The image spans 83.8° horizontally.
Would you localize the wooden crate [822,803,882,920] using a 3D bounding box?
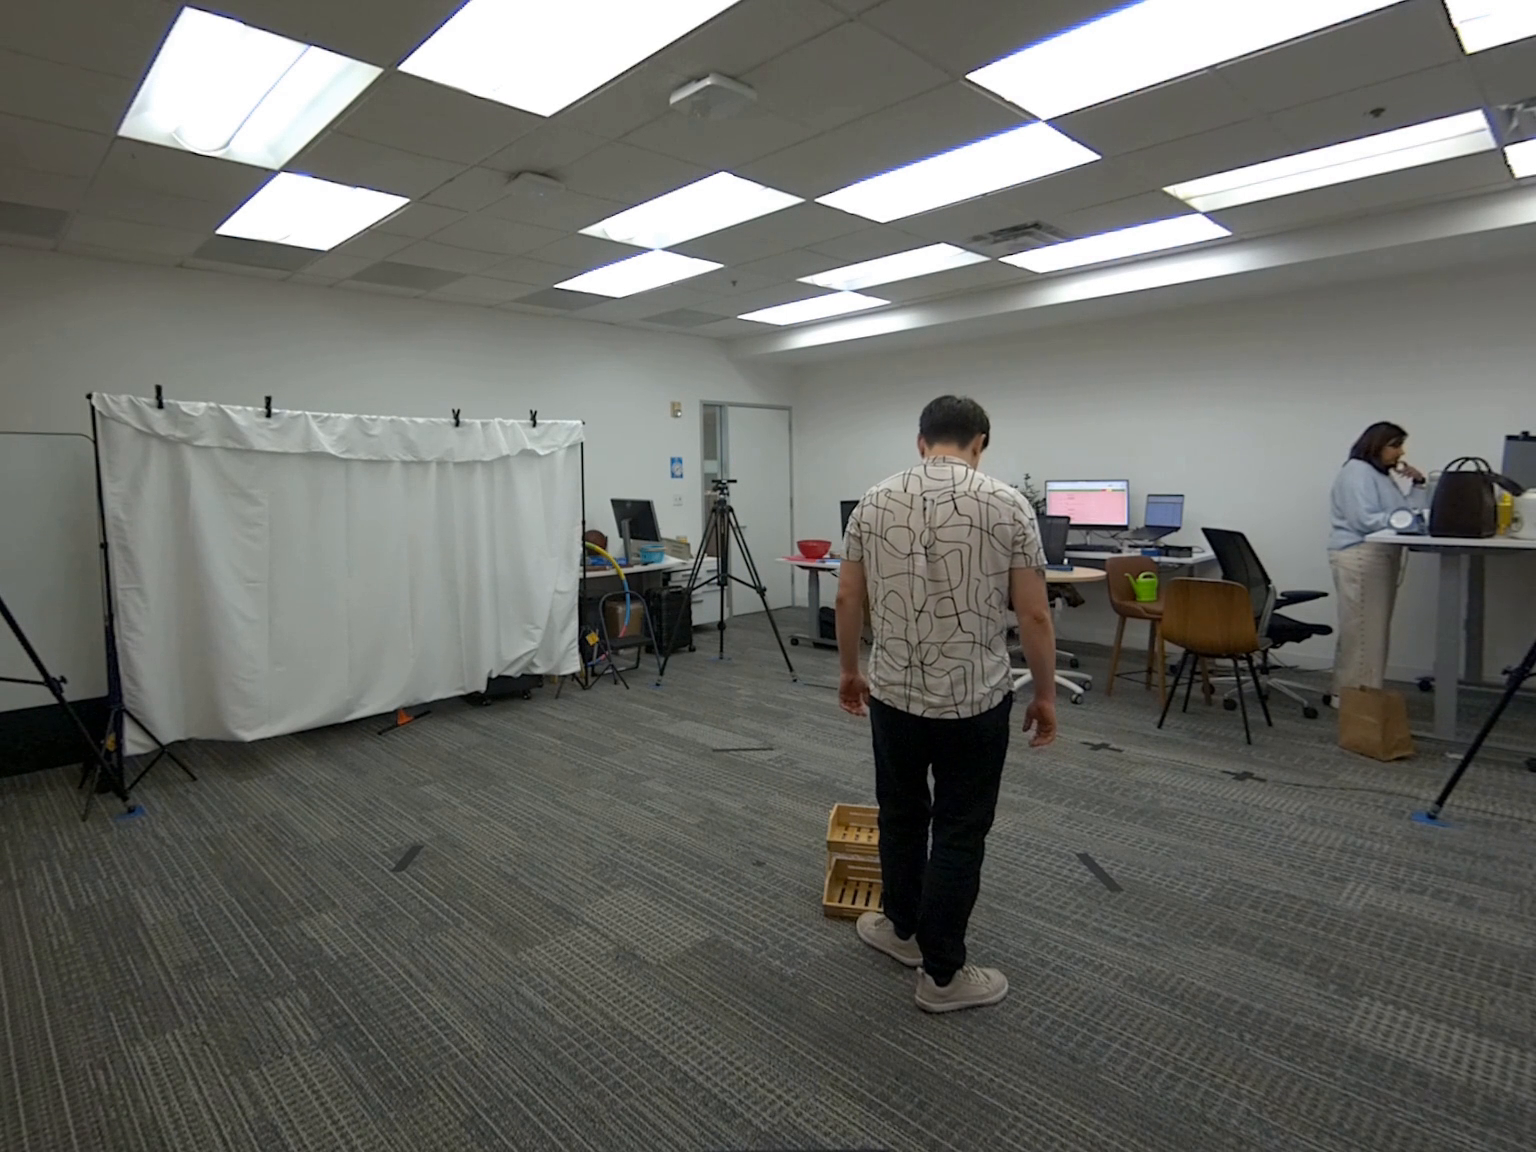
[{"bbox_3d":[0.358,0.943,2.804,0.329,0.272,0.299,0,5,15],"label":"wooden crate"}]
